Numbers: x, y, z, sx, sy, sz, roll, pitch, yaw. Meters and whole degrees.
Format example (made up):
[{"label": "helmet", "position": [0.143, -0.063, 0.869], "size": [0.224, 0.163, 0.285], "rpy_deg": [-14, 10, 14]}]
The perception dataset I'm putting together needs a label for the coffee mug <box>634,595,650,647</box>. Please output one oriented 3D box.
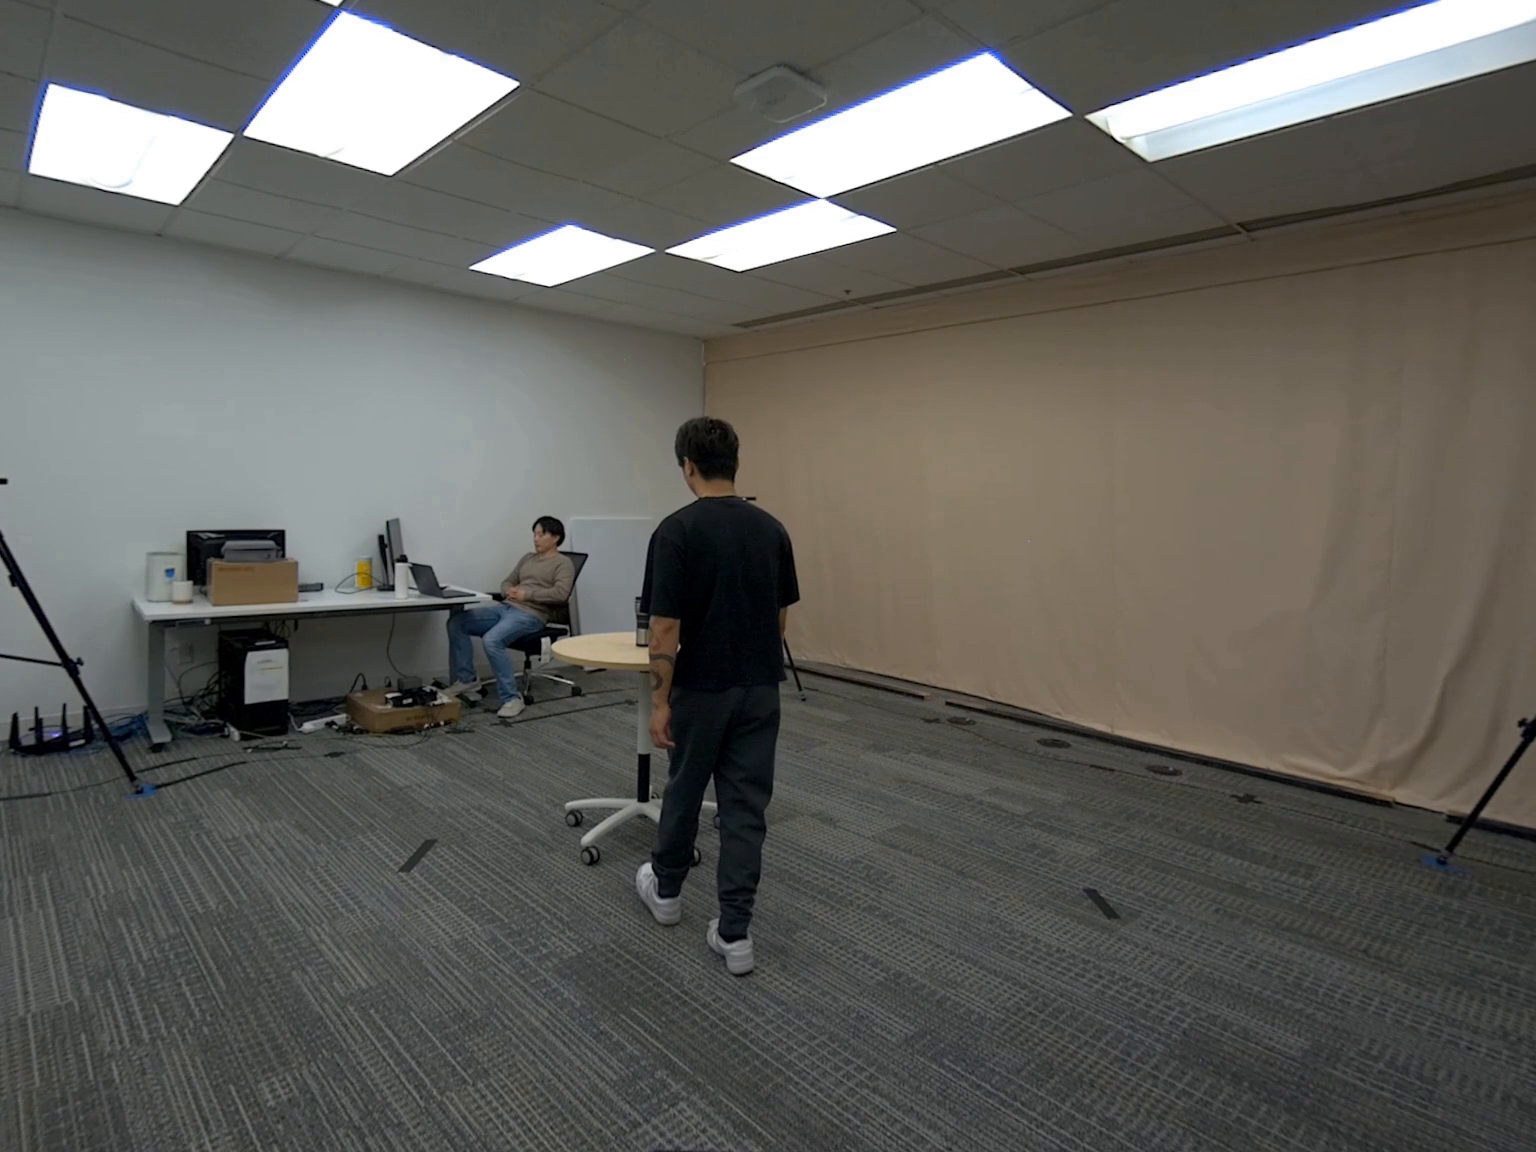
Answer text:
[{"label": "coffee mug", "position": [-0.500, 0.186, 3.418], "size": [0.086, 0.203, 0.124], "rpy_deg": [7, -3, -27]}]
